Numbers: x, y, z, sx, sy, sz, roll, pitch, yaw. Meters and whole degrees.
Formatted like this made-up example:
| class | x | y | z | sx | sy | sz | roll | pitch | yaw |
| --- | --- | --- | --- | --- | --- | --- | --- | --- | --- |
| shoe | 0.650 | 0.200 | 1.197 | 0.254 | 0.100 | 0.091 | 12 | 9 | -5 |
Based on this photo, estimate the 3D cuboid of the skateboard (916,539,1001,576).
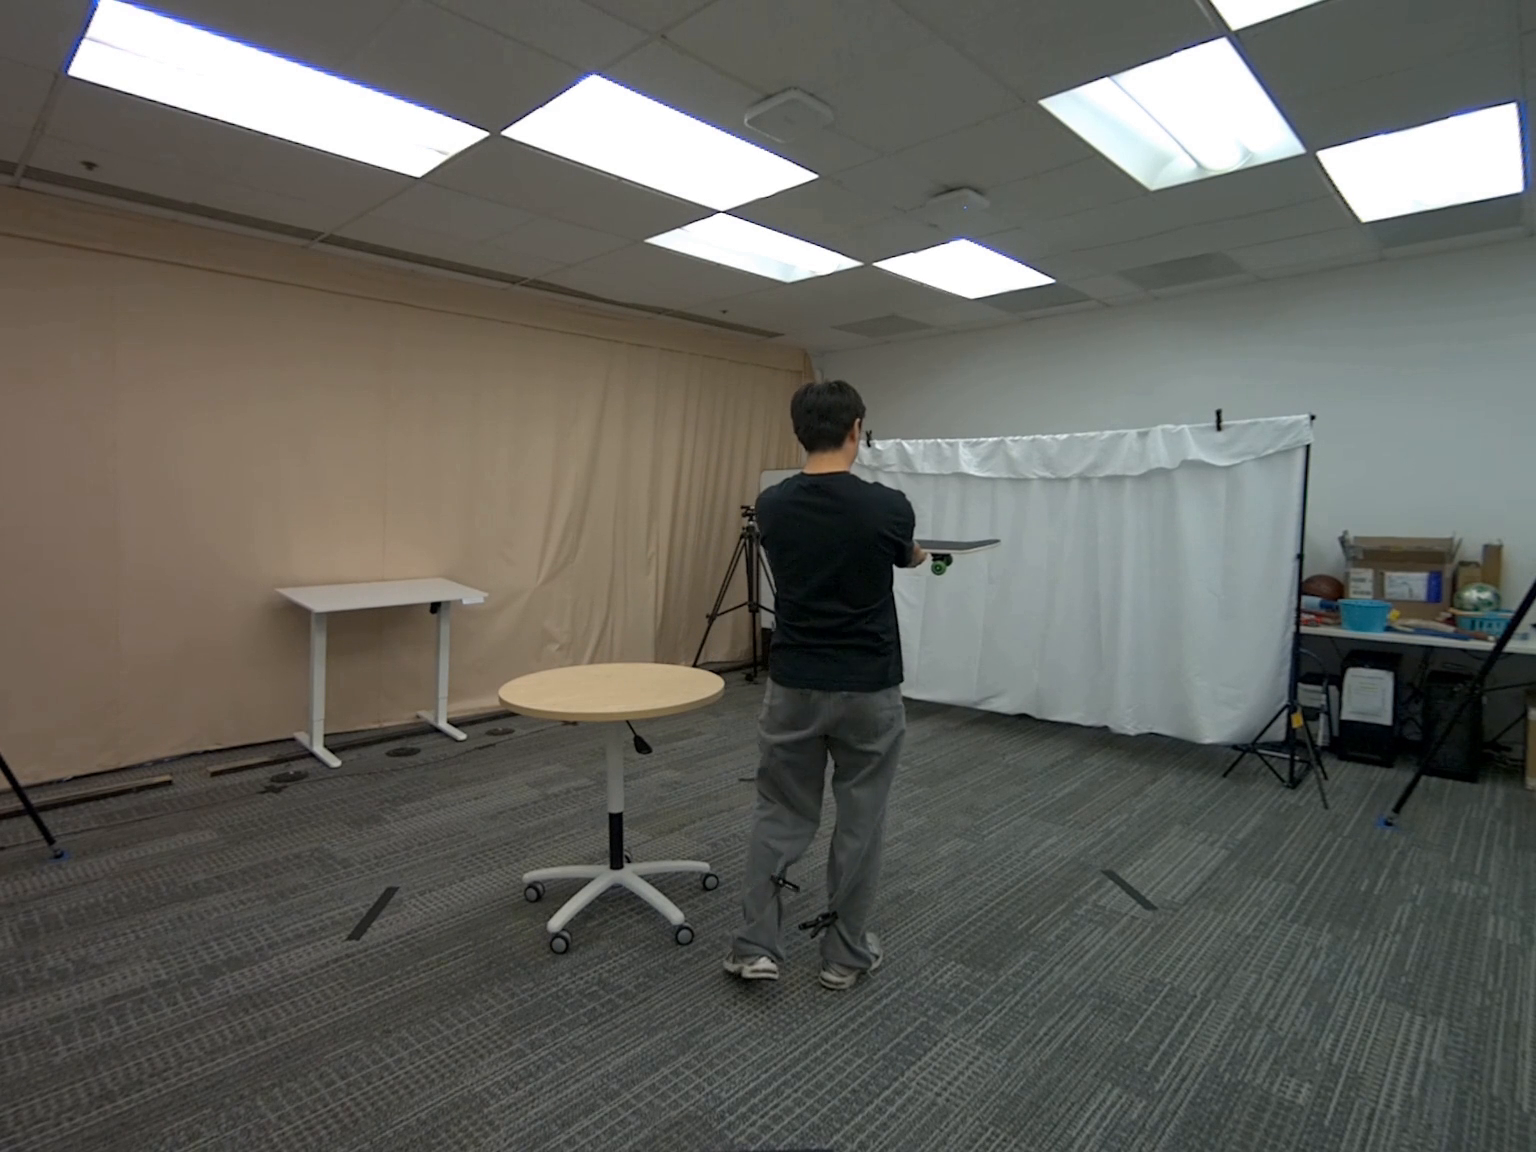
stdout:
| class | x | y | z | sx | sy | sz | roll | pitch | yaw |
| --- | --- | --- | --- | --- | --- | --- | --- | --- | --- |
| skateboard | 0.426 | -0.077 | 3.011 | 0.805 | 0.109 | 0.190 | 3 | 14 | 25 |
